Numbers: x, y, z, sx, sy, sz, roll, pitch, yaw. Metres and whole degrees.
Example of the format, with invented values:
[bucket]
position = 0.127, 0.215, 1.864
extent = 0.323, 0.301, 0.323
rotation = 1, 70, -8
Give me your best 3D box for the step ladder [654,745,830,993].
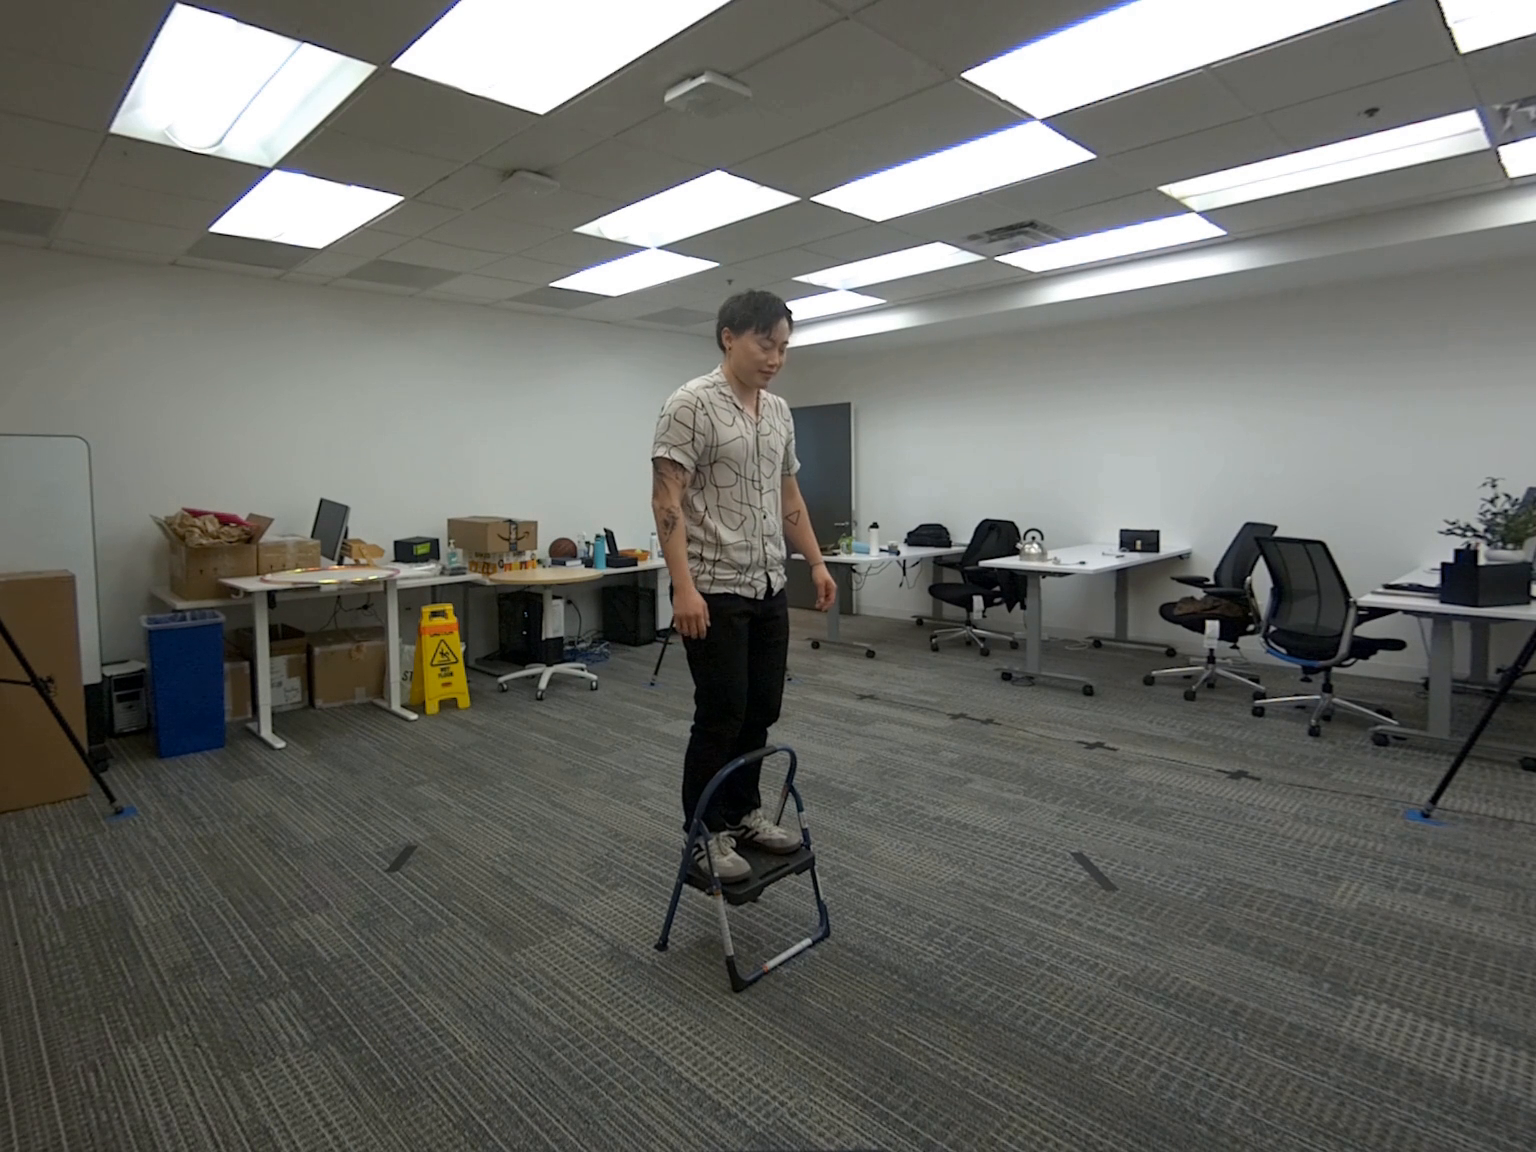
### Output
[step ladder]
position = -0.071, 0.803, 2.564
extent = 0.360, 0.603, 0.419
rotation = 4, 7, 43
